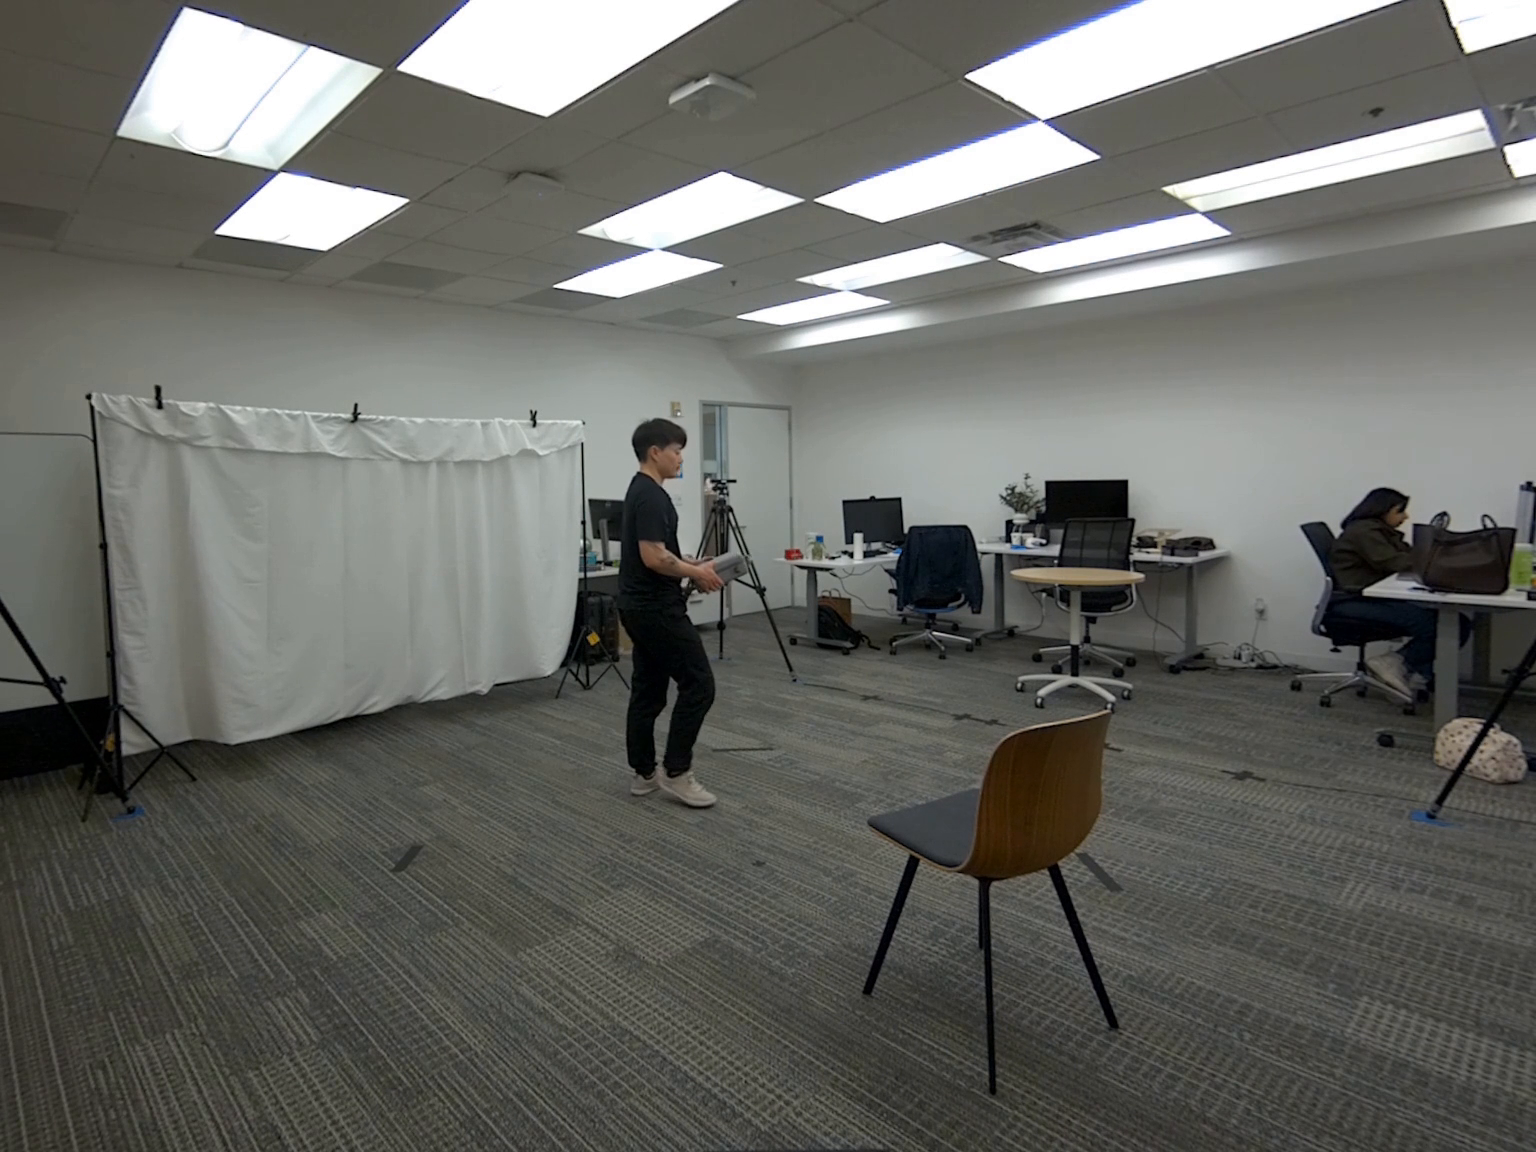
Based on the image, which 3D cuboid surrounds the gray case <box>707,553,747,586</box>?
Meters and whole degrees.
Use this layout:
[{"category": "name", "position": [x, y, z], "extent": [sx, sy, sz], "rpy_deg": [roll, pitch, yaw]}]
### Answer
[{"category": "gray case", "position": [-0.221, -0.033, 3.852], "extent": [0.260, 0.103, 0.260], "rpy_deg": [-23, 10, -3]}]
